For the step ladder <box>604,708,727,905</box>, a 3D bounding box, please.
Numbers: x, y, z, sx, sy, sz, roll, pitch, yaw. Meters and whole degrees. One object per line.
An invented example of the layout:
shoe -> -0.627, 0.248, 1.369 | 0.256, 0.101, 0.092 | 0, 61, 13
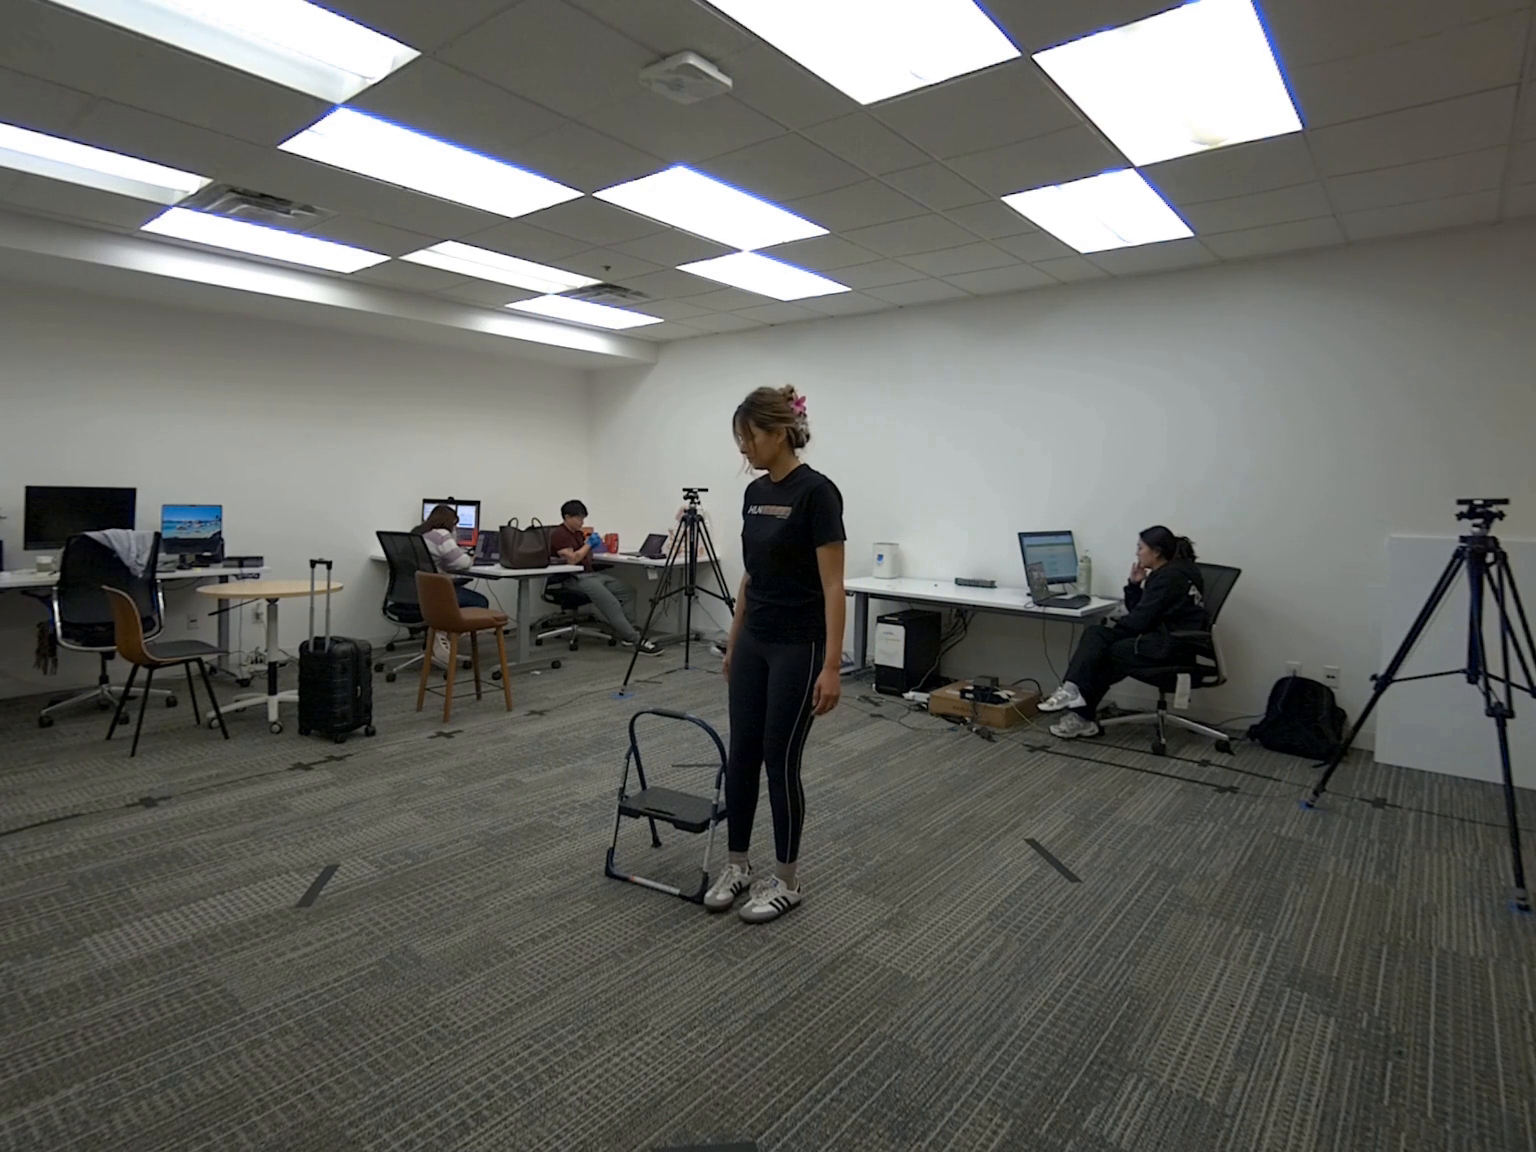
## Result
step ladder -> -0.338, 0.769, 3.069 | 0.443, 0.605, 0.340 | 2, 3, 28
